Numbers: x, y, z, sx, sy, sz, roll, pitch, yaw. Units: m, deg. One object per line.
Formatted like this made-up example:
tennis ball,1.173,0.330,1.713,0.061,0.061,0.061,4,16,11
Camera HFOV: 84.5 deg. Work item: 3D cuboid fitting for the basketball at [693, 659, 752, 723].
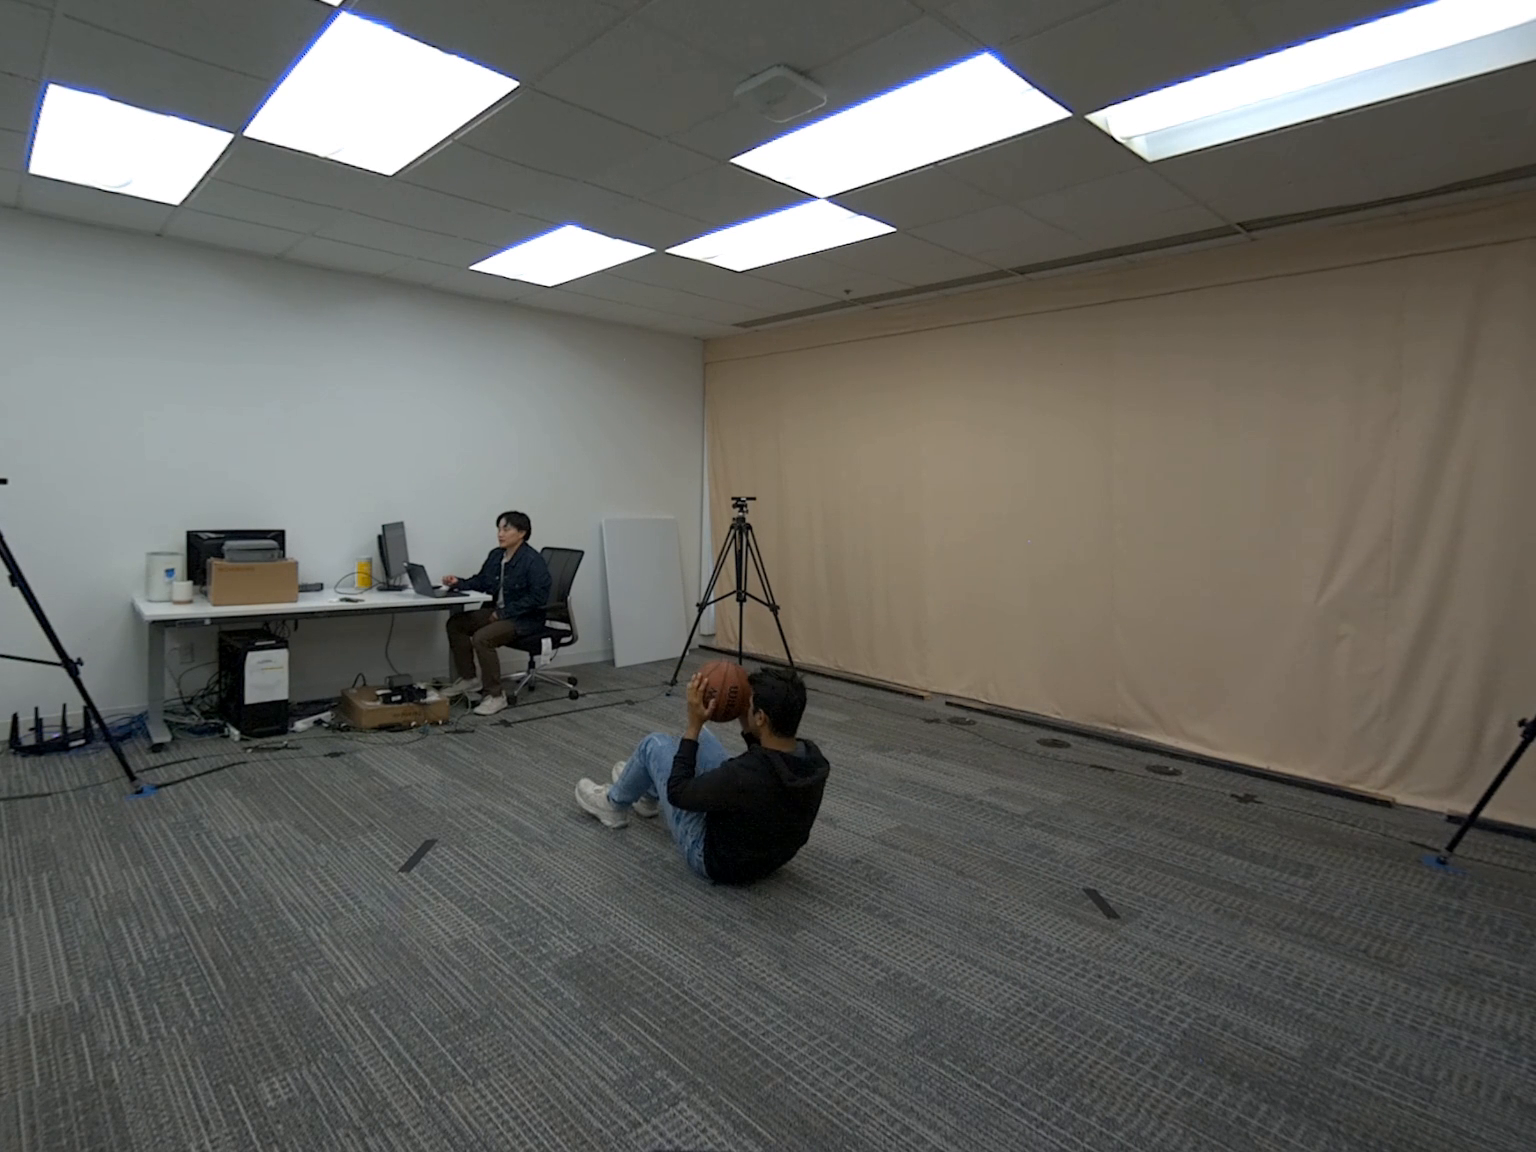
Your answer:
basketball,-0.169,0.436,3.171,0.236,0.235,0.237,1,4,-1
